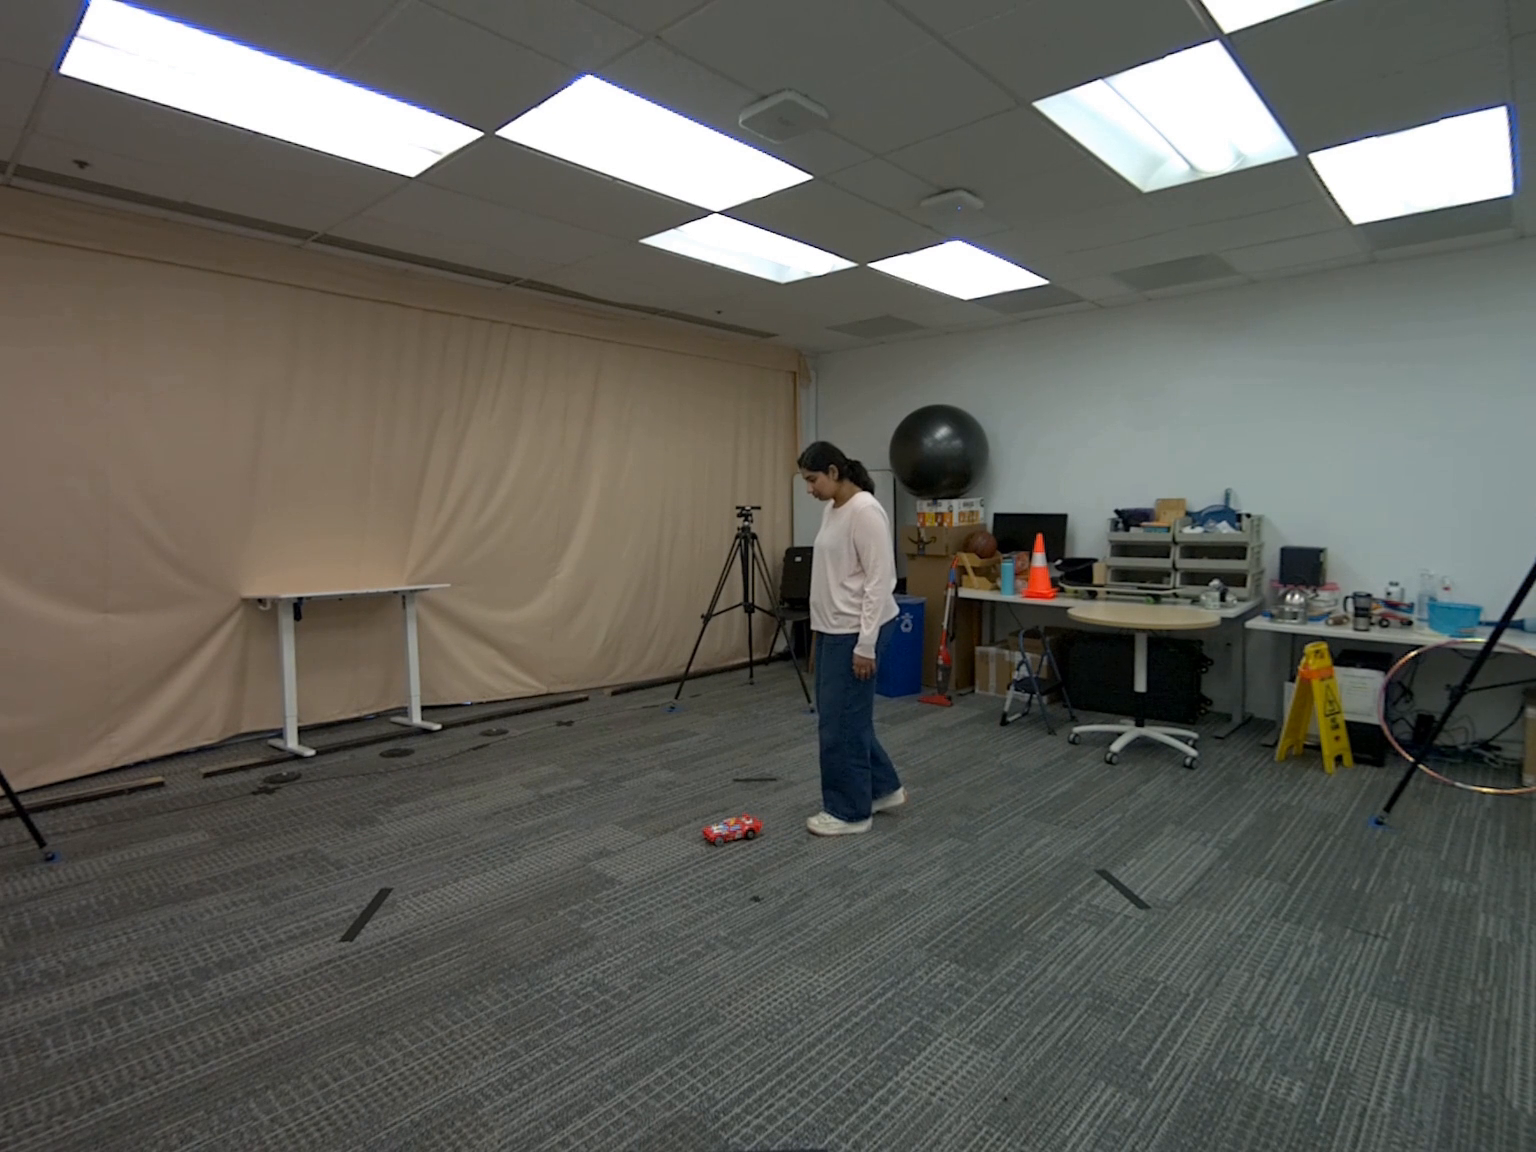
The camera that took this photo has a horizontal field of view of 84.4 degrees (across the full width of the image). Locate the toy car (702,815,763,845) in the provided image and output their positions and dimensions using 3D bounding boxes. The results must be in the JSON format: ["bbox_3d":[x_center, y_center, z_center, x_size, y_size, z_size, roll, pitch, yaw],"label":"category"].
[{"bbox_3d":[-0.142,1.067,3.533,0.249,0.083,0.134,-14,9,-25],"label":"toy car"}]
